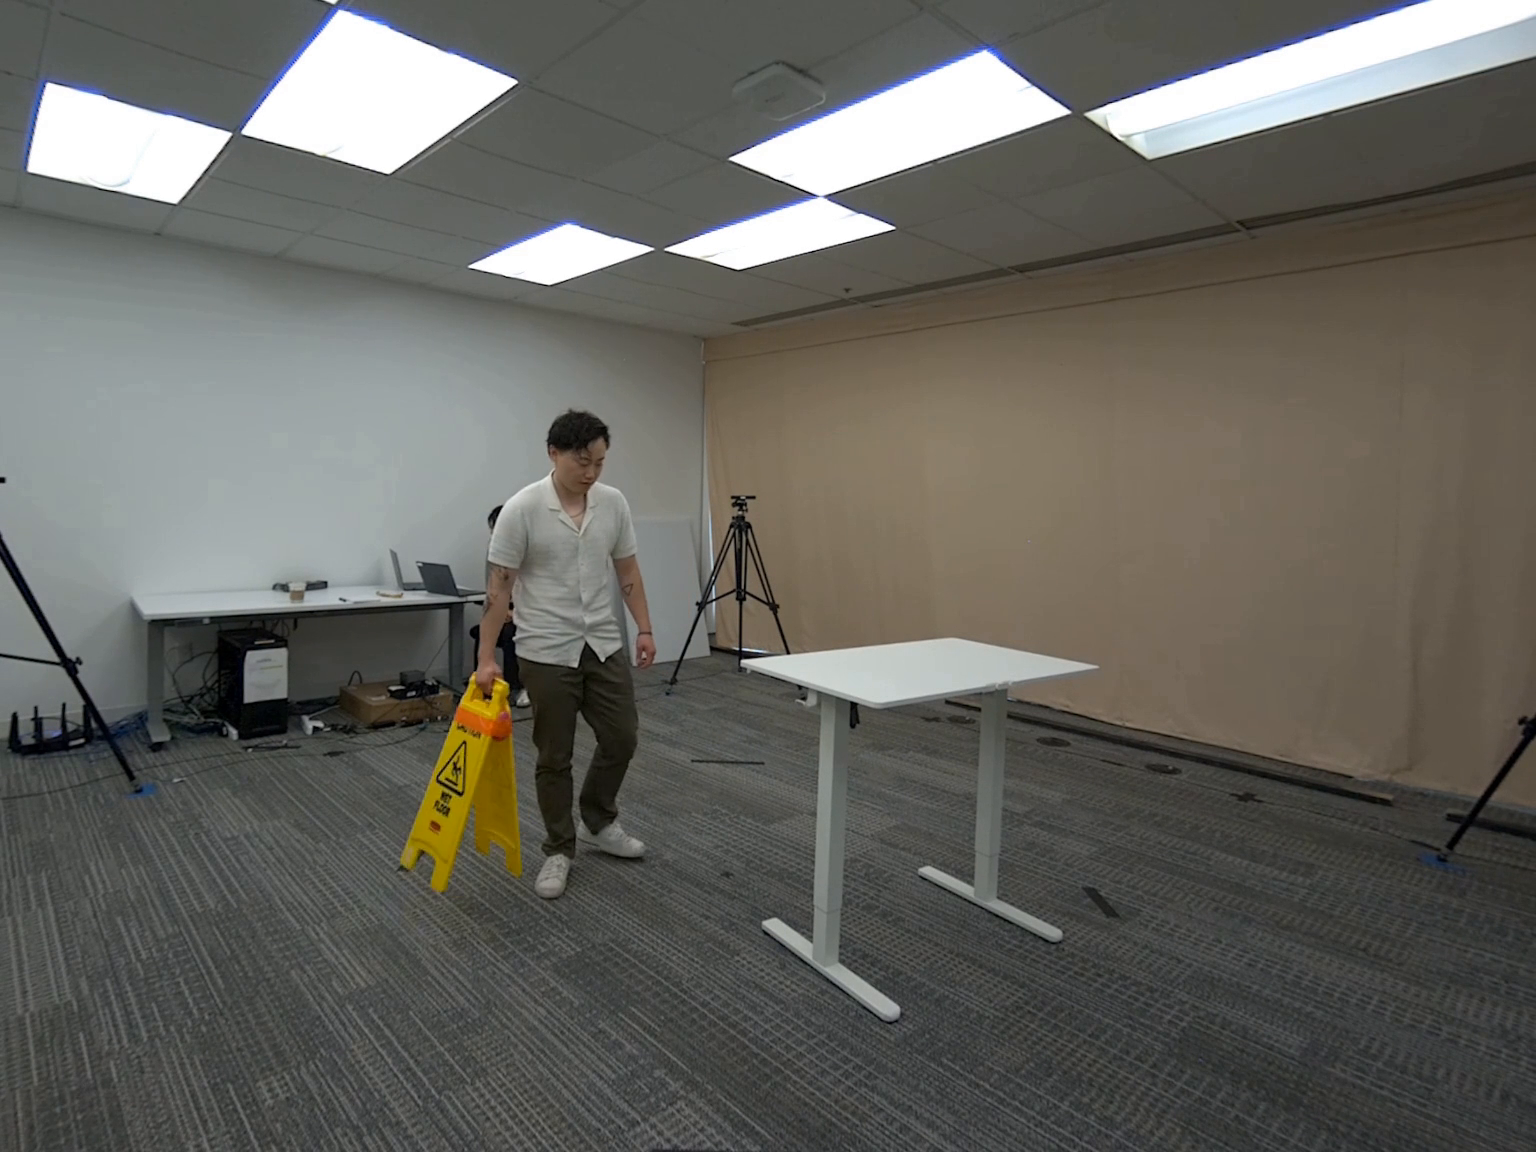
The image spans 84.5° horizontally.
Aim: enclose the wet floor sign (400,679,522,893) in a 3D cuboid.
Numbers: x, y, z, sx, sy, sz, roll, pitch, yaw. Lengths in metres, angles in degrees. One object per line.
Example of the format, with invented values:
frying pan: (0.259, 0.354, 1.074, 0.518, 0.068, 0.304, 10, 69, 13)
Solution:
wet floor sign: (-0.973, 0.656, 2.797, 0.289, 0.647, 0.282, 6, -2, 42)
